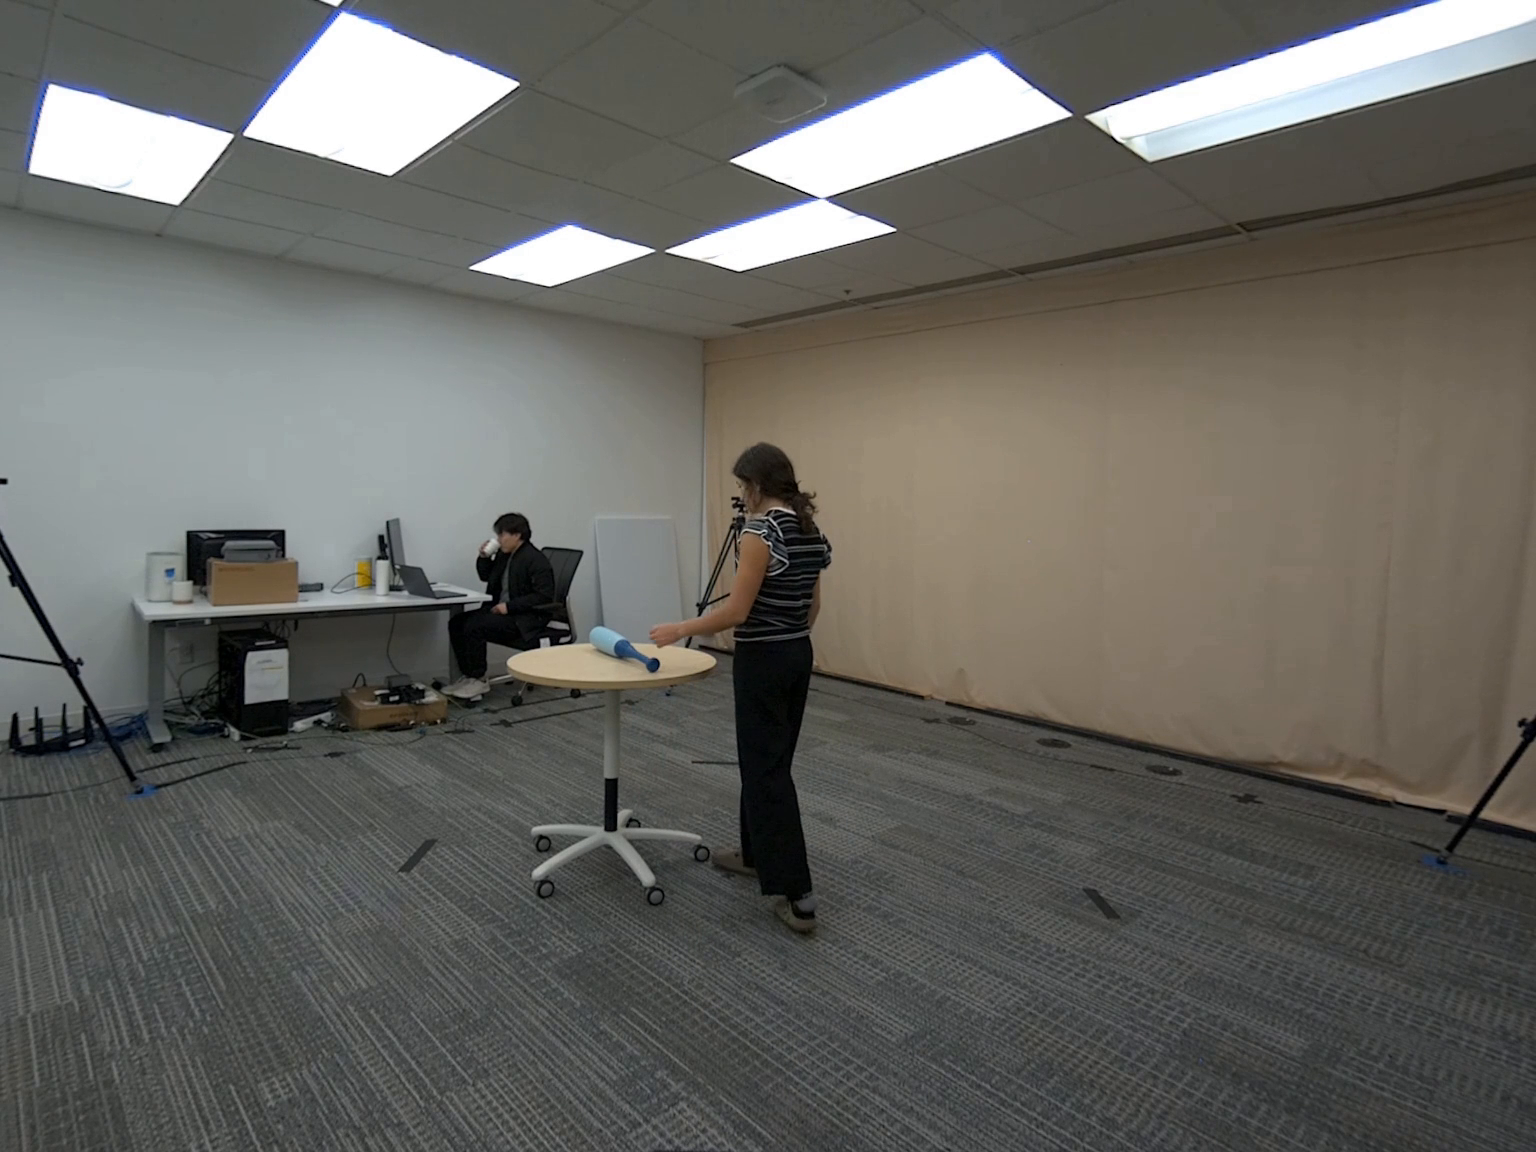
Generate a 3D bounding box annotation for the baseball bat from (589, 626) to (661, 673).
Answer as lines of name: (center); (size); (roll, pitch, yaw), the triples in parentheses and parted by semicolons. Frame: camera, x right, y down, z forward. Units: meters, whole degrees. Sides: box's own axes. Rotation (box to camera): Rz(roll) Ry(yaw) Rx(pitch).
baseball bat: (-0.537, 0.275, 3.126); (0.087, 0.089, 0.556); (-1, 7, -31)
